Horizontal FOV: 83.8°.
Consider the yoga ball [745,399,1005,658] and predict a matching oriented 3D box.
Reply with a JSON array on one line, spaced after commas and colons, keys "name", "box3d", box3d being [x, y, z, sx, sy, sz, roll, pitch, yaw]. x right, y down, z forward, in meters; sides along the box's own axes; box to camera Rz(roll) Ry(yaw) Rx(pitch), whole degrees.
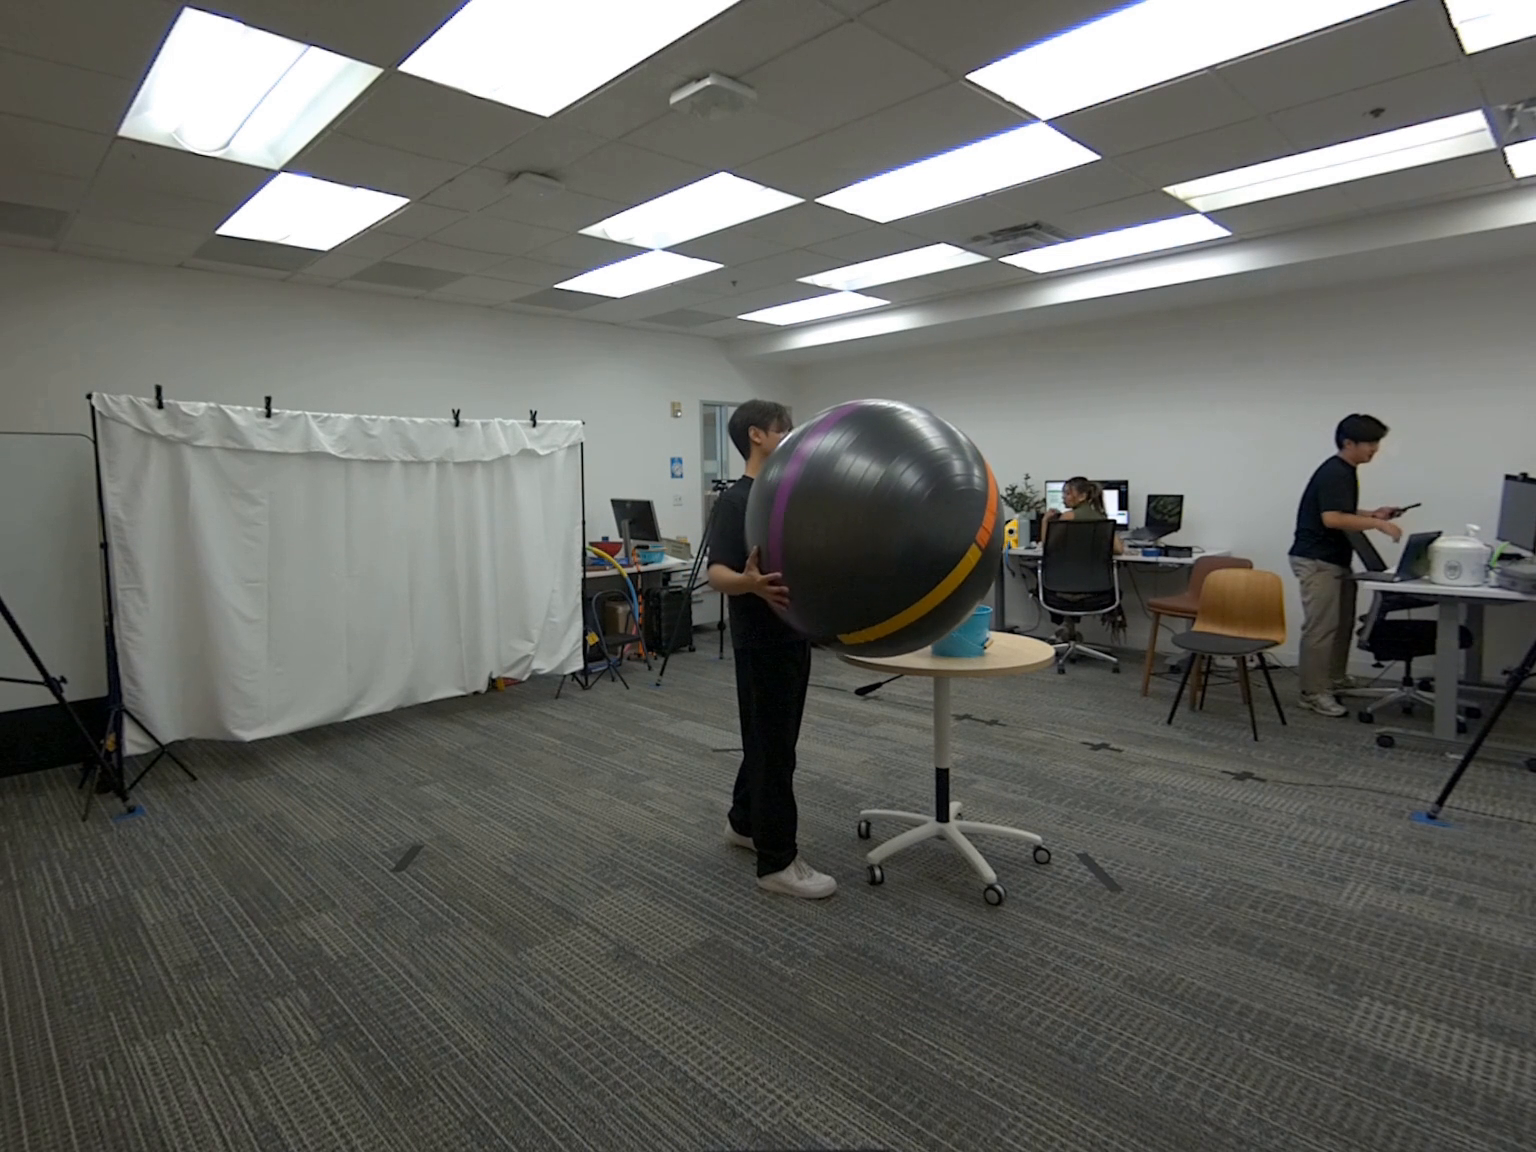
[{"name": "yoga ball", "box3d": [0.320, -0.137, 2.533, 0.757, 0.755, 0.762, -1, 5, -2]}]
